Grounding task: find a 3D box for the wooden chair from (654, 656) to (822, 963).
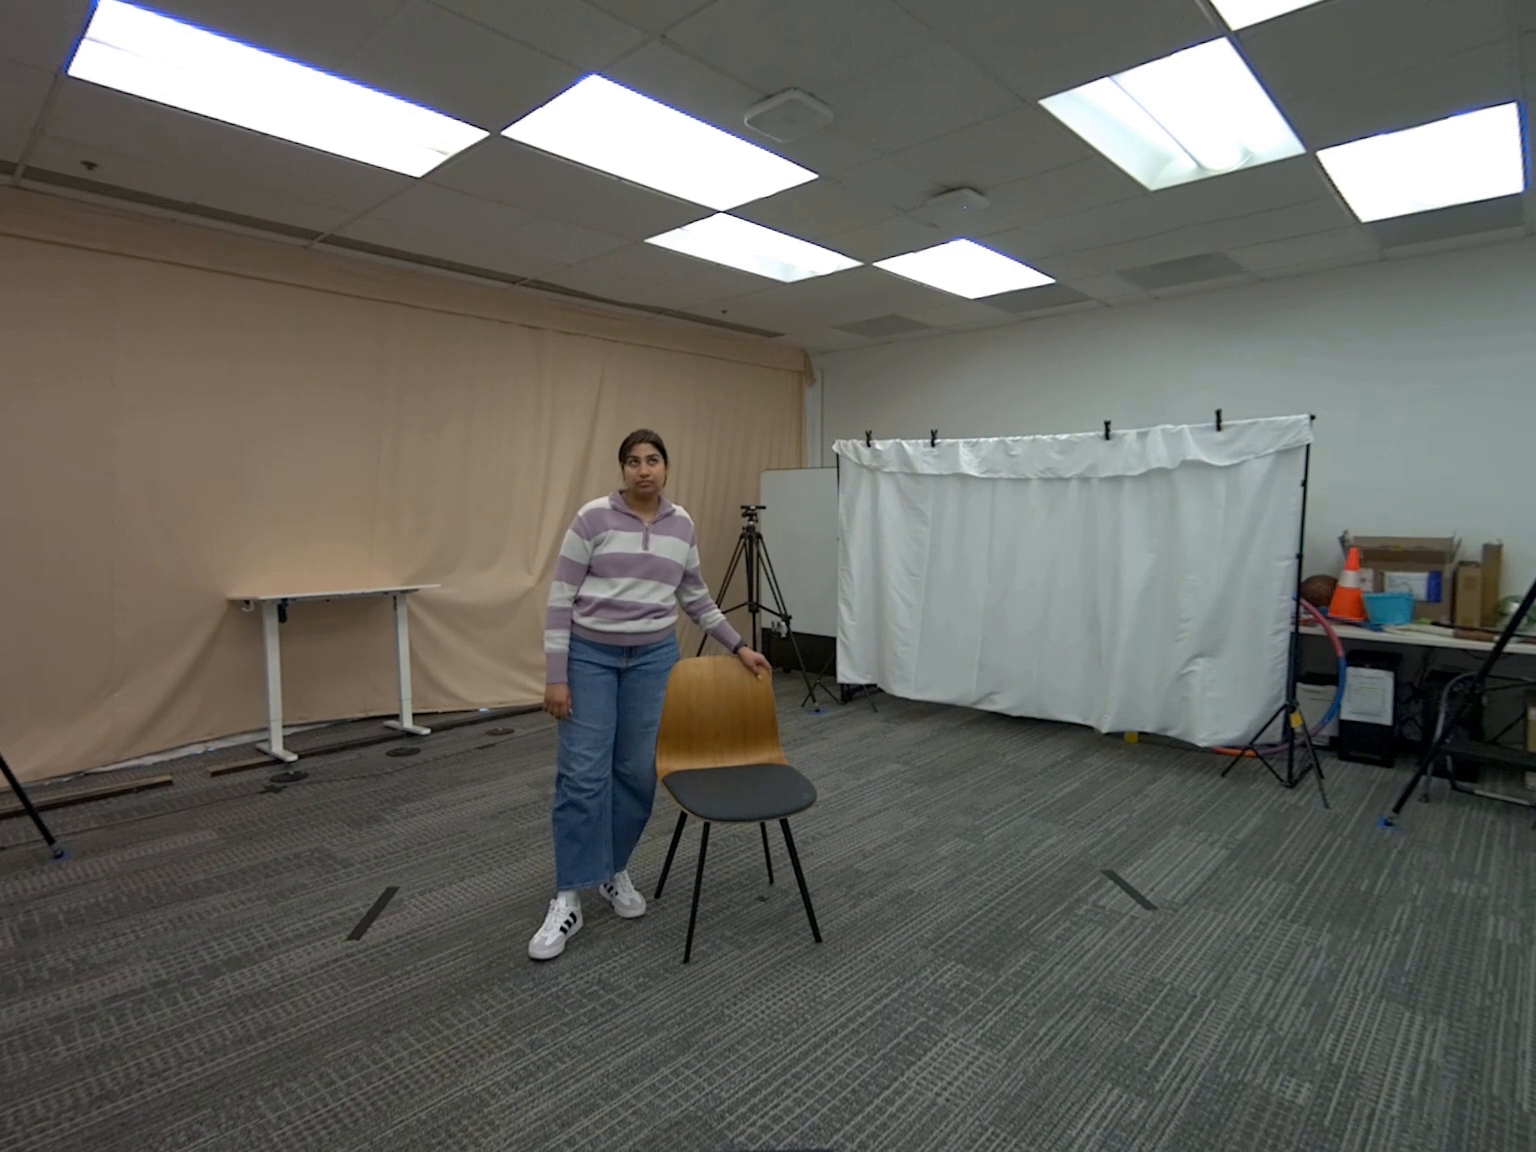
[{"bbox_3d":[-0.103,0.731,2.796,0.470,0.878,0.532,-1,-1,-18],"label":"wooden chair"}]
